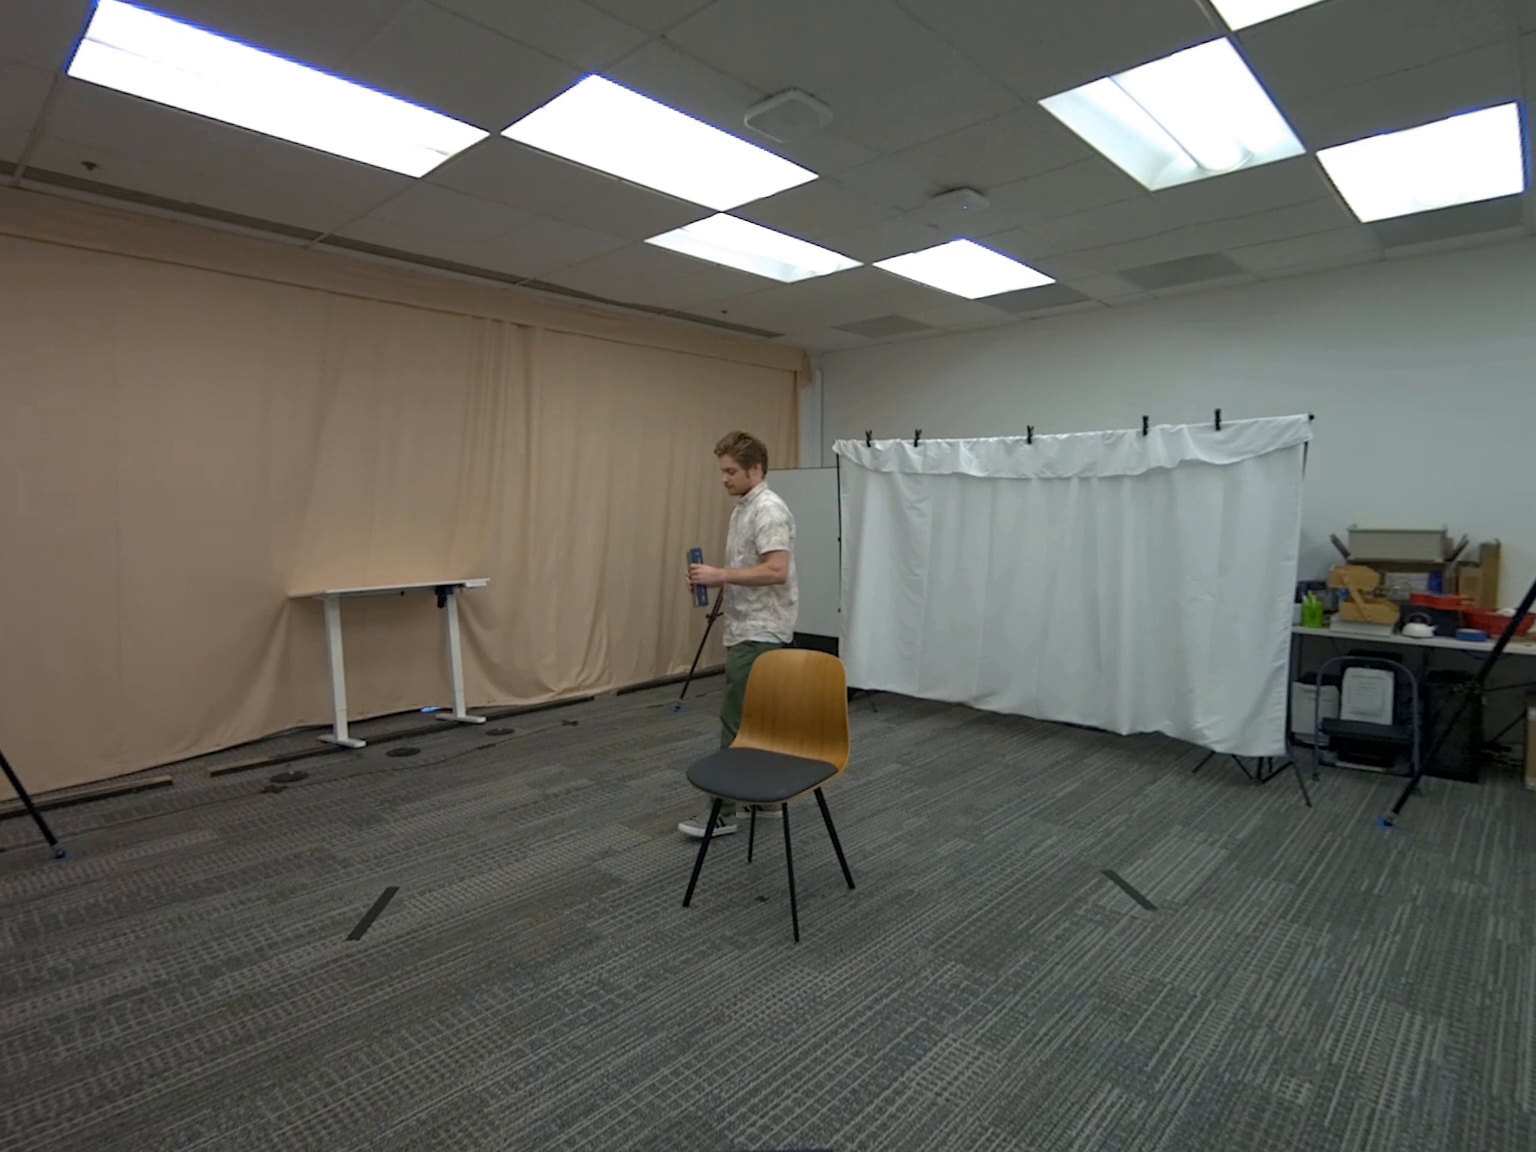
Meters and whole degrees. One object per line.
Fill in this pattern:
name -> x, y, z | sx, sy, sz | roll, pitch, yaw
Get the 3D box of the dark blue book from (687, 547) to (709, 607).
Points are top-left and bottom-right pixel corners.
dark blue book -> -0.304, 0.011, 3.643 | 0.044, 0.246, 0.165 | -5, -6, -16
